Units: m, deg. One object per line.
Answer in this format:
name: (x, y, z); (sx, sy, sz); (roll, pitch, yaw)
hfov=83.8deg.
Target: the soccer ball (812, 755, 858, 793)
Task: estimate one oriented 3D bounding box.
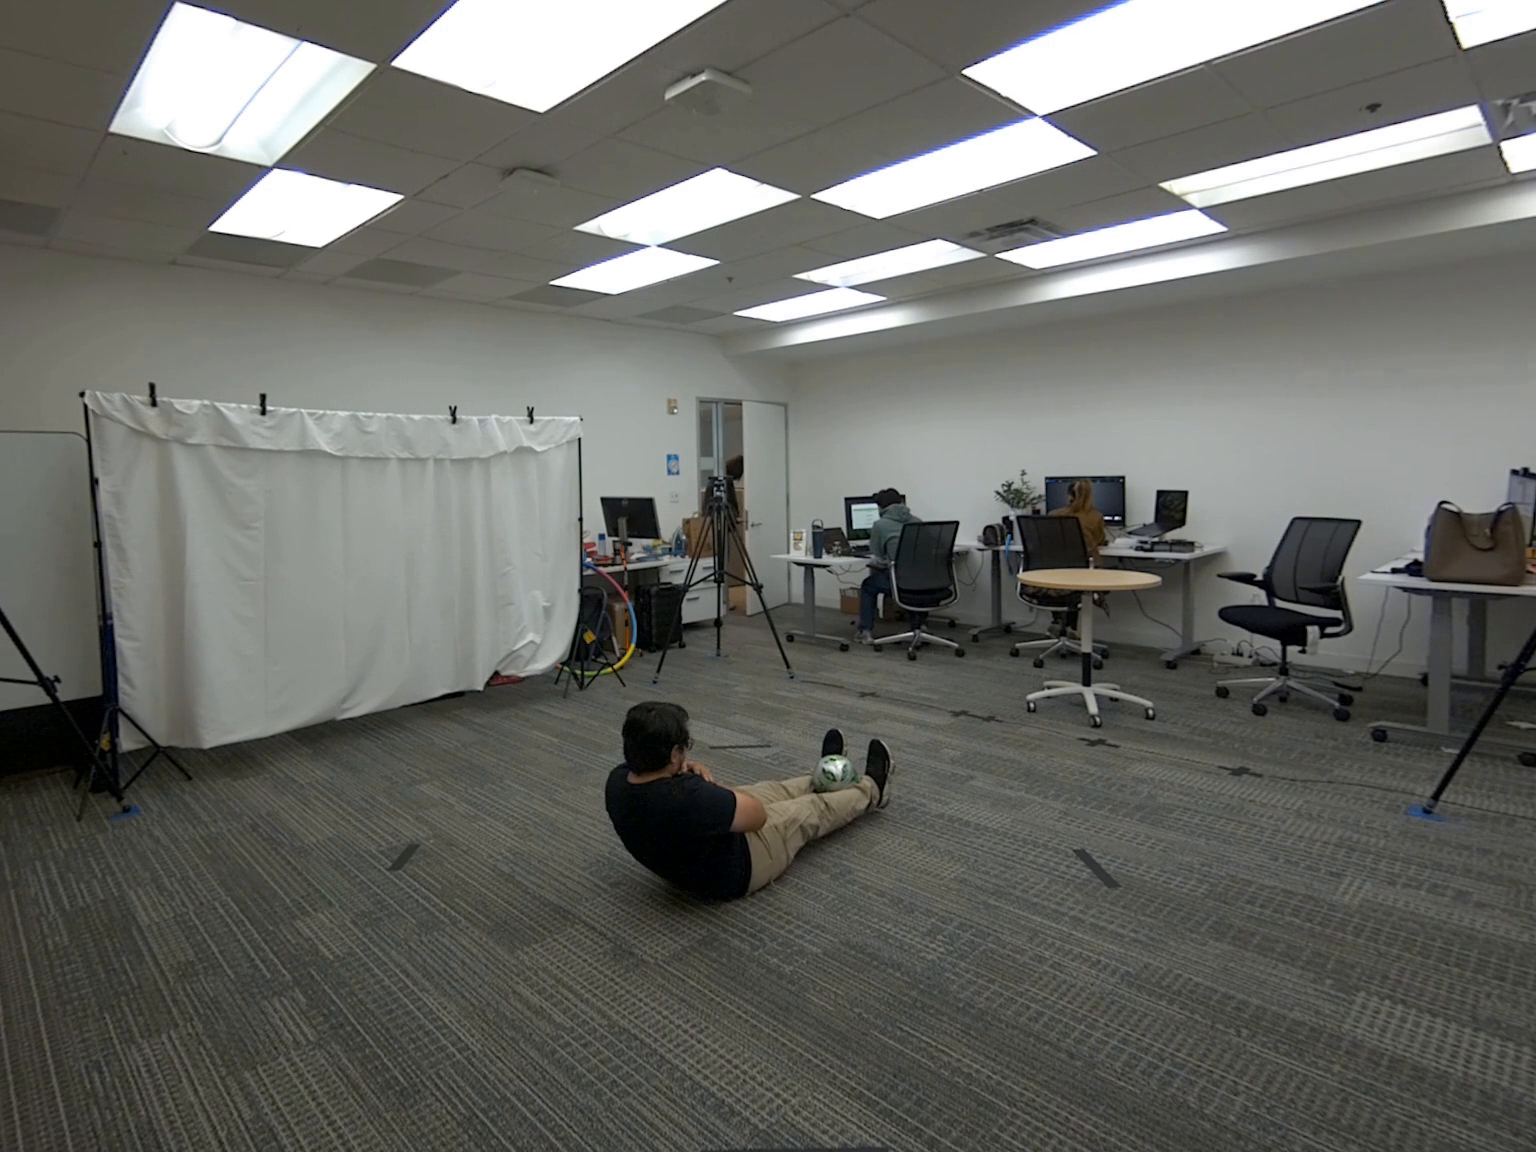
soccer ball: (0.285, 0.830, 3.501); (0.187, 0.187, 0.188); (-1, 4, -2)
